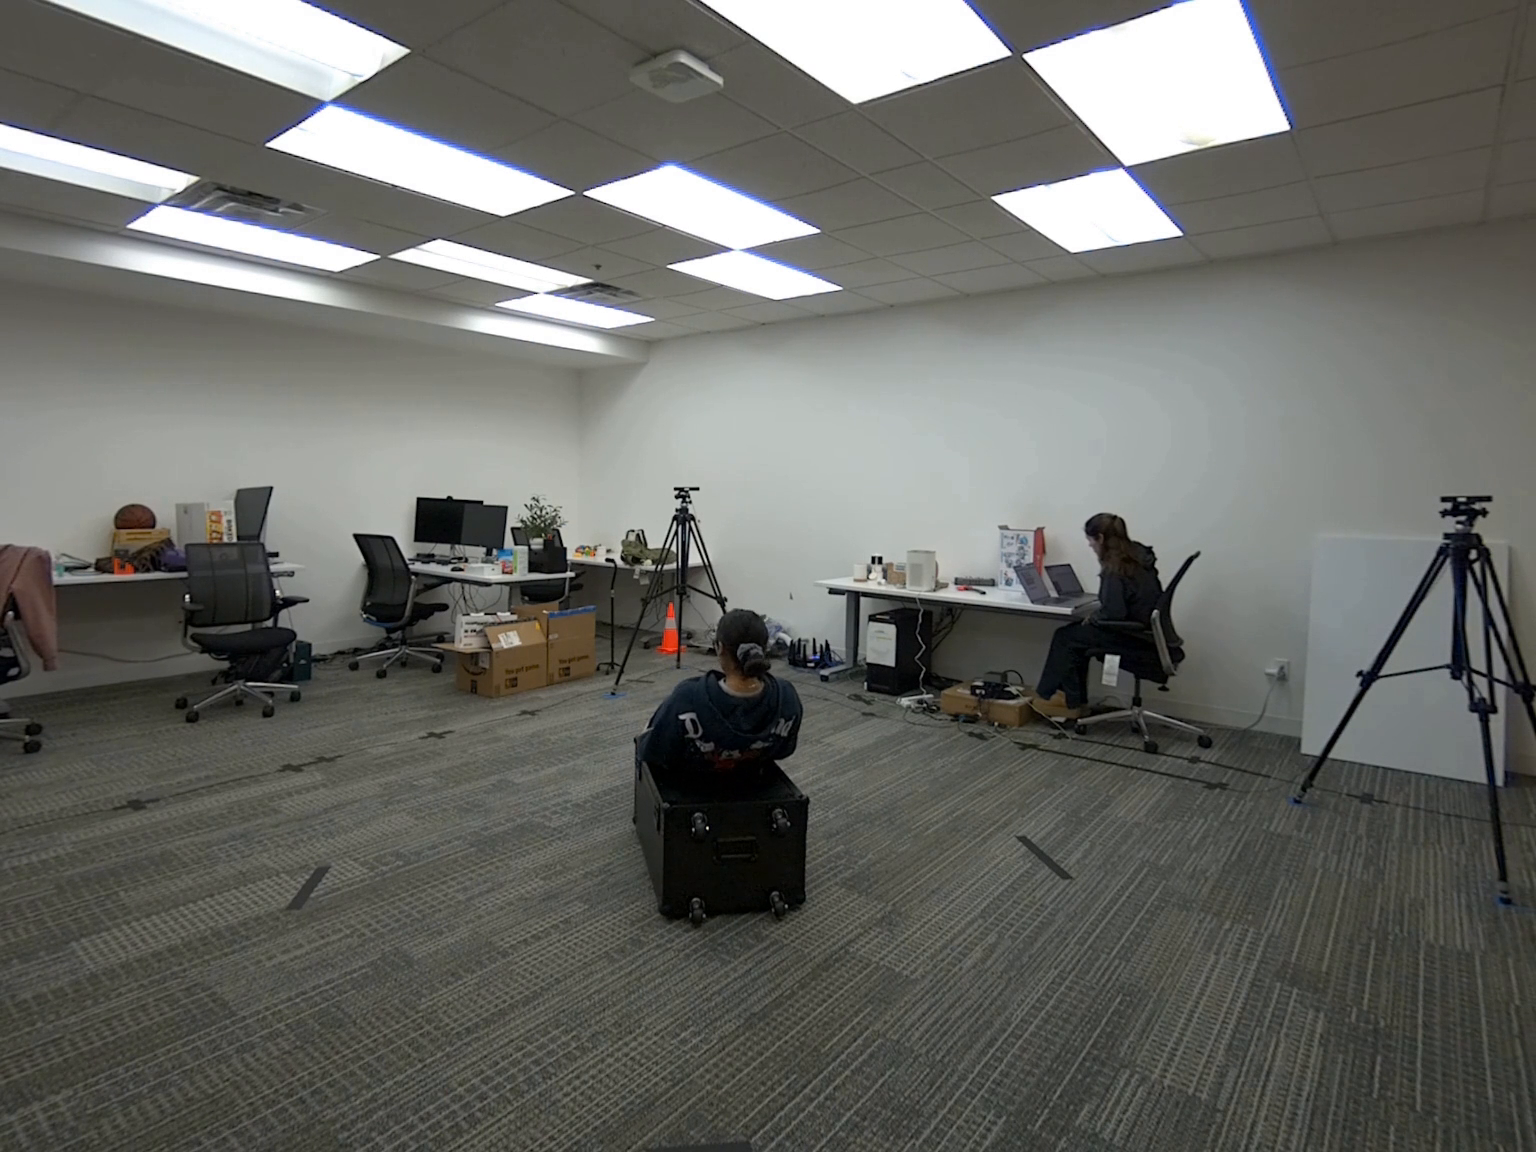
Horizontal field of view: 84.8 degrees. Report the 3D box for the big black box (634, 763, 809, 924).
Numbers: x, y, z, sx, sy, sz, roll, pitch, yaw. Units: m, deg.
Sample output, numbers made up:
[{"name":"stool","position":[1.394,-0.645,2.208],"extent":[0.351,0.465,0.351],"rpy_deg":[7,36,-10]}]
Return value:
[{"name":"big black box","position":[-0.211,0.875,3.092],"extent":[0.513,0.395,0.877],"rpy_deg":[1,5,-15]}]
